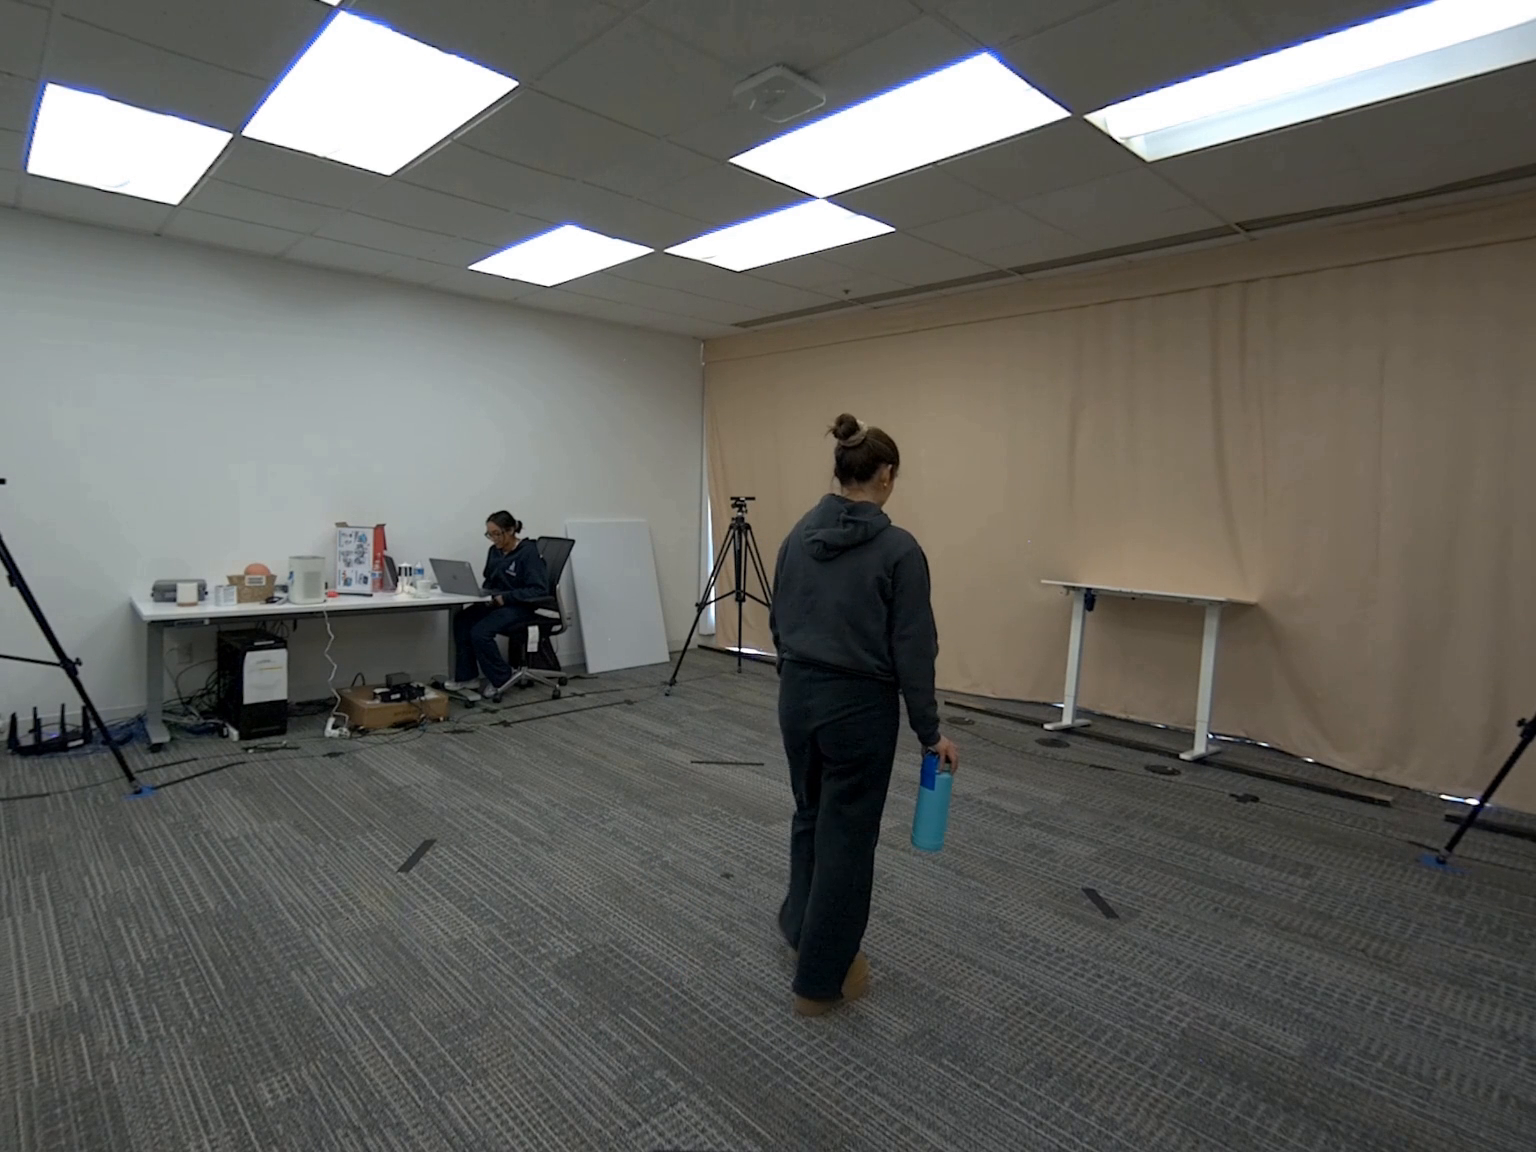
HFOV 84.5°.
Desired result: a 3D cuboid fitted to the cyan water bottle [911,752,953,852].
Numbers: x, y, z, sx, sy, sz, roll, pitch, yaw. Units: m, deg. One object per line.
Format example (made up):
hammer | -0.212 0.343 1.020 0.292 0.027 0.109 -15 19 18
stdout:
cyan water bottle | 0.450 0.614 2.322 0.092 0.282 0.093 8 6 -2
